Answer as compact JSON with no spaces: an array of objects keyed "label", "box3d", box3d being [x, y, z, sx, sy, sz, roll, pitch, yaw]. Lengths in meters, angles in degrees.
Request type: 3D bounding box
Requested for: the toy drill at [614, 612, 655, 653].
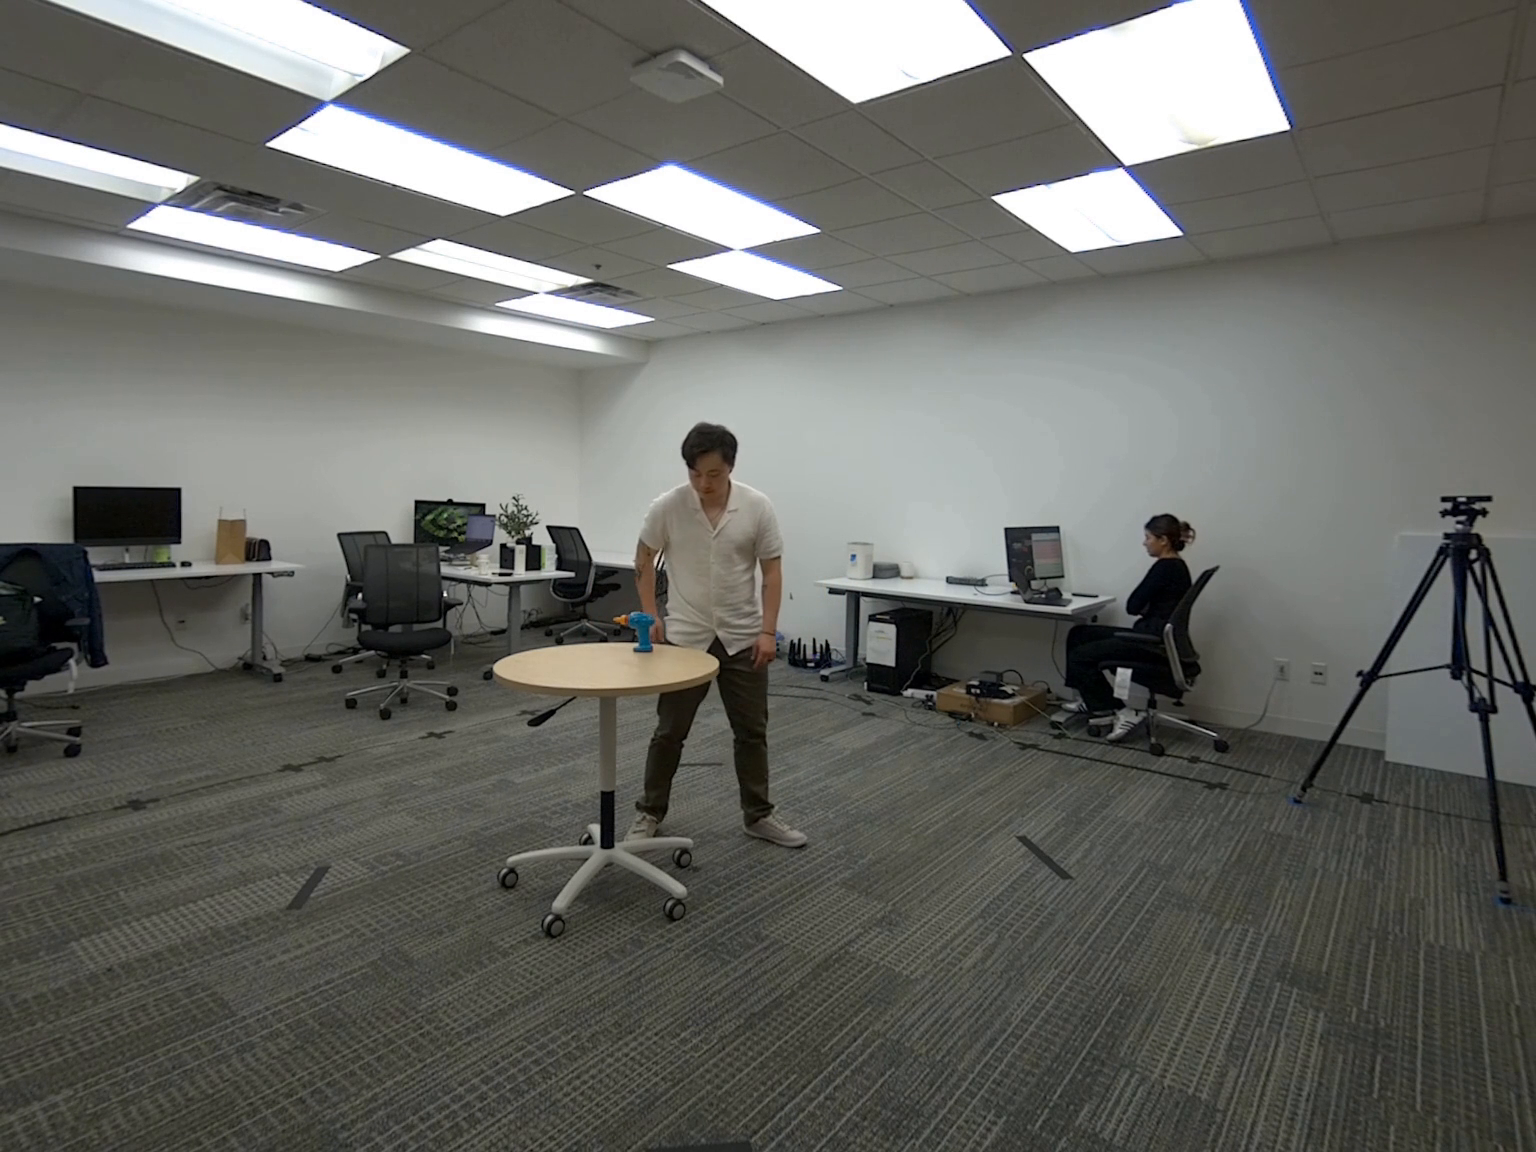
[{"label":"toy drill","box3d":[-0.511,0.199,3.137,0.172,0.146,0.060,1,3,13]}]
